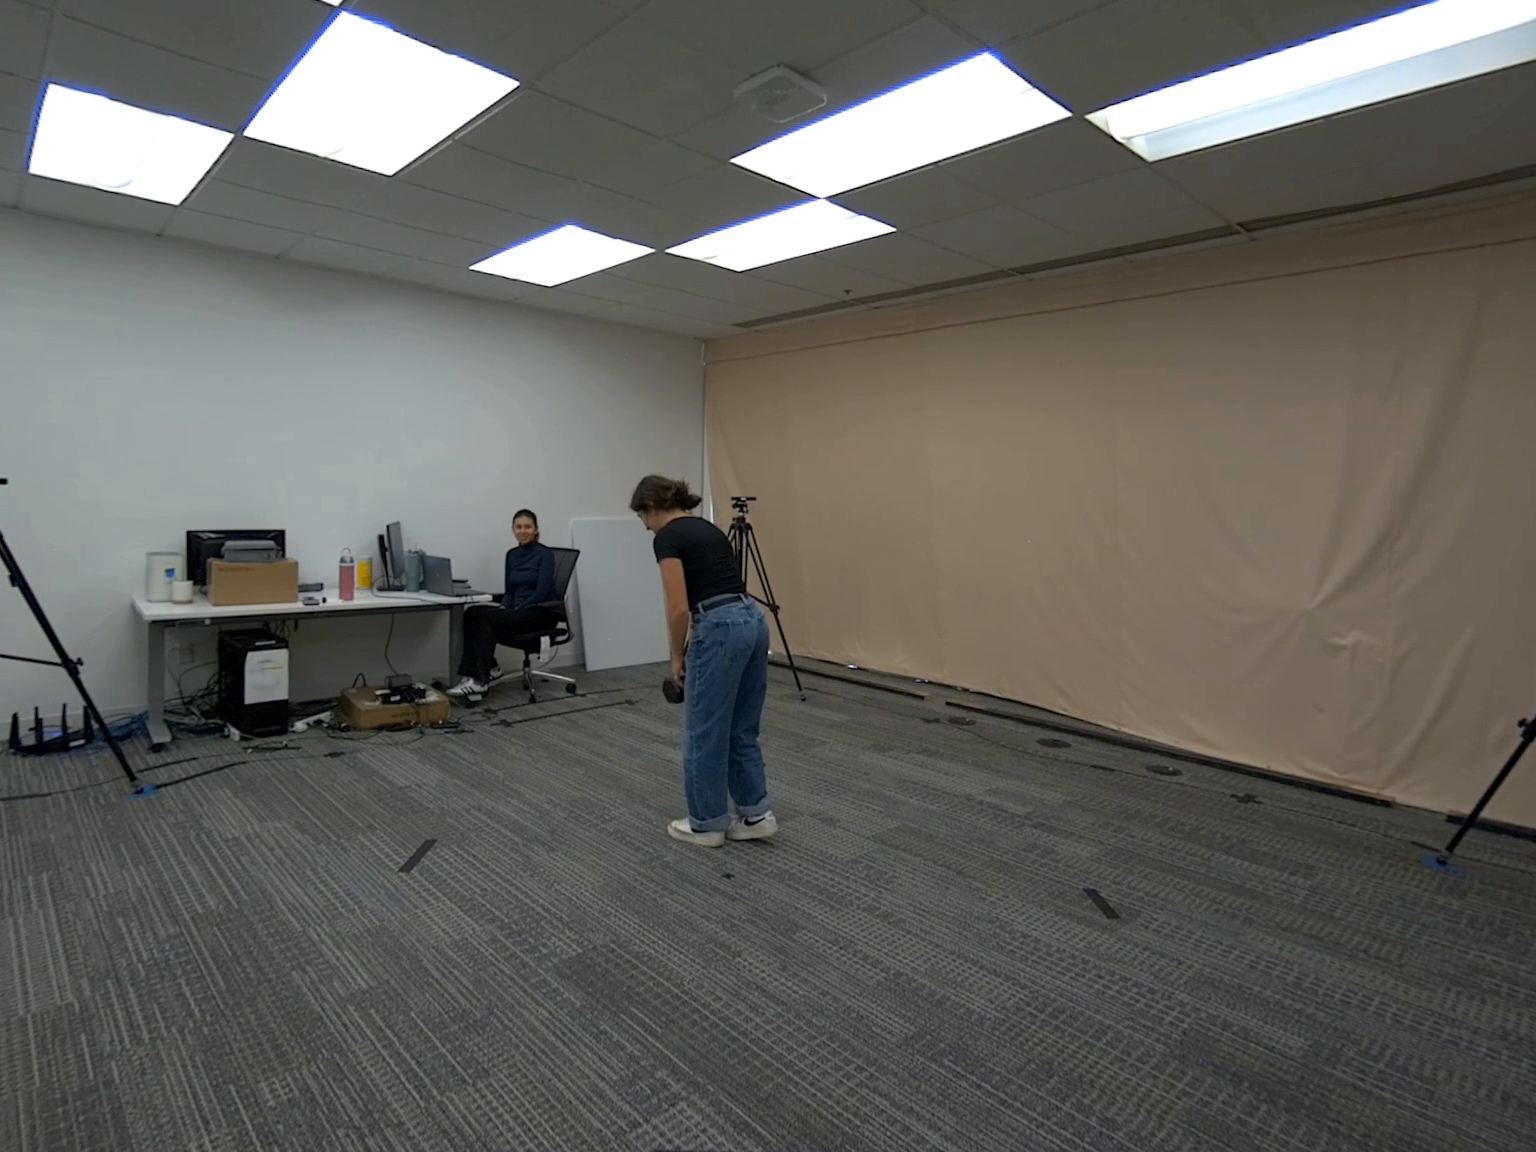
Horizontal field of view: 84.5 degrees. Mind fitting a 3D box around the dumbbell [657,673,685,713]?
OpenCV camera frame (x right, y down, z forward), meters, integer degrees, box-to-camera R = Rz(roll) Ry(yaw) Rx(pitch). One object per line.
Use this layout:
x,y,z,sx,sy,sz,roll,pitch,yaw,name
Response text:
-0.295,0.453,3.523,0.288,0.125,0.109,-10,-26,-44,dumbbell
